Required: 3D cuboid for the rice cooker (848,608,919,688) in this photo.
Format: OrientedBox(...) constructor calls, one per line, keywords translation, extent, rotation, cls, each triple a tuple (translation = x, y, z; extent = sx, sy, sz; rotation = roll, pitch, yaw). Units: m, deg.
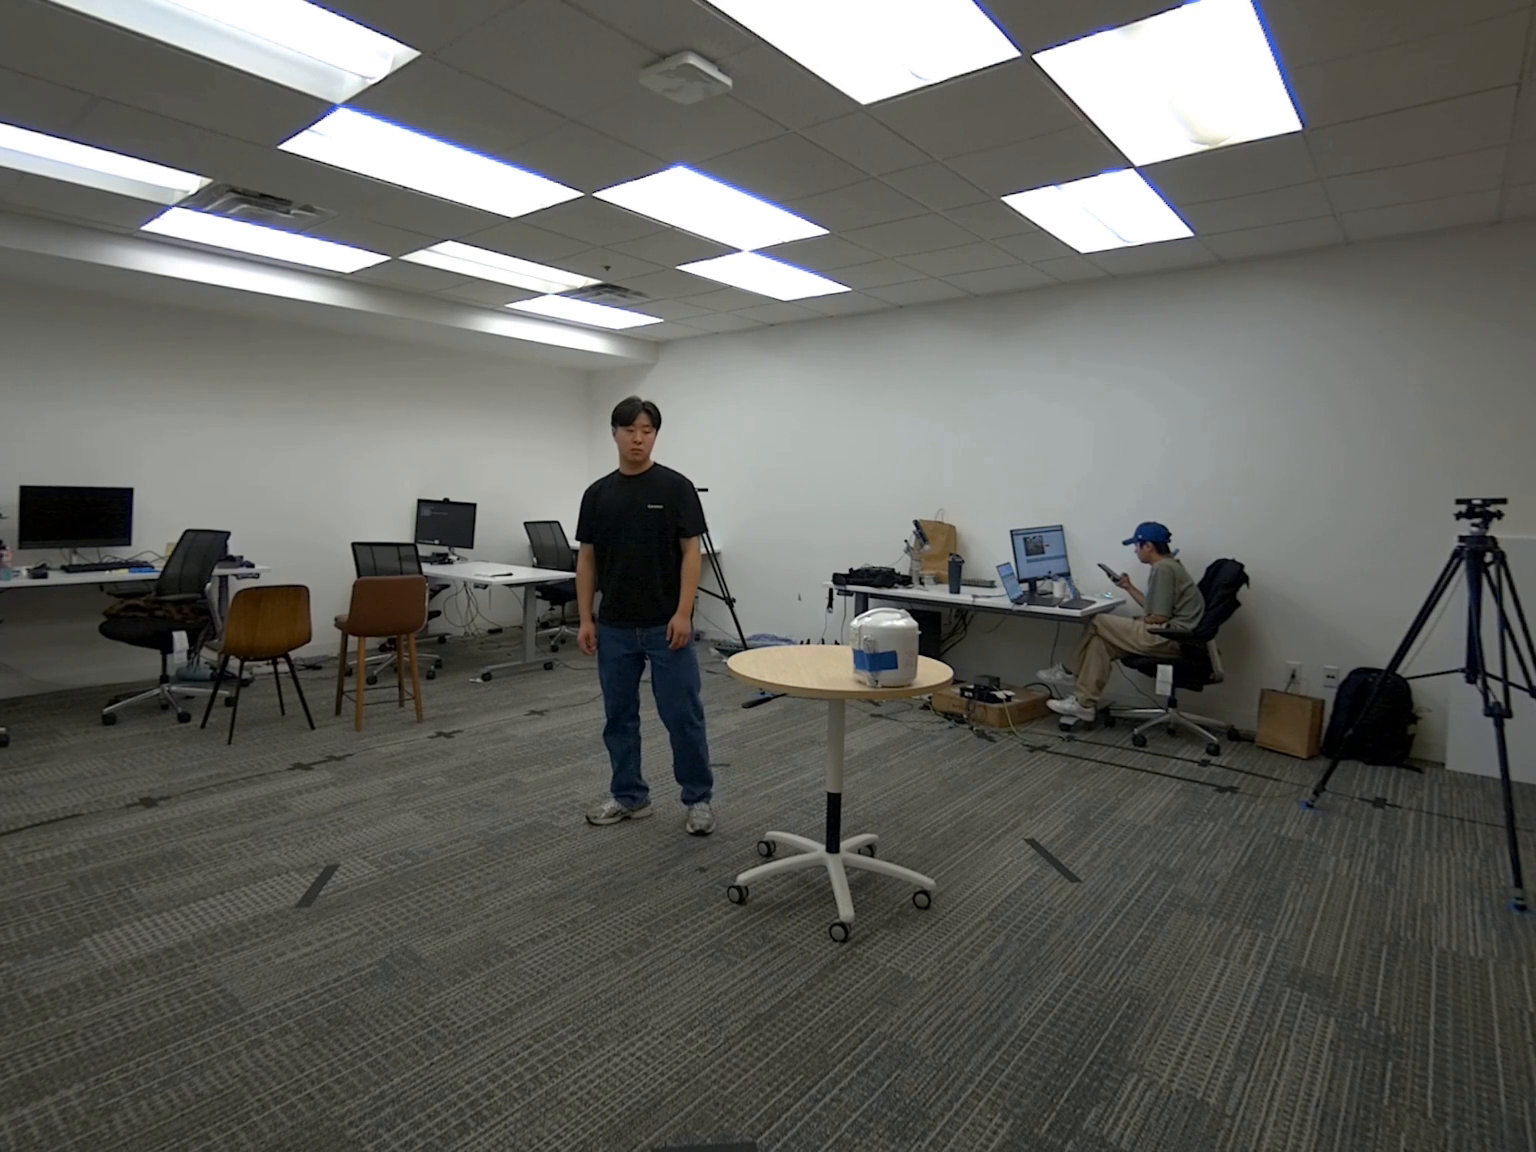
OrientedBox(translation=(0.359, 0.215, 2.670), extent=(0.217, 0.232, 0.222), rotation=(1, 6, -14), cls="rice cooker")
